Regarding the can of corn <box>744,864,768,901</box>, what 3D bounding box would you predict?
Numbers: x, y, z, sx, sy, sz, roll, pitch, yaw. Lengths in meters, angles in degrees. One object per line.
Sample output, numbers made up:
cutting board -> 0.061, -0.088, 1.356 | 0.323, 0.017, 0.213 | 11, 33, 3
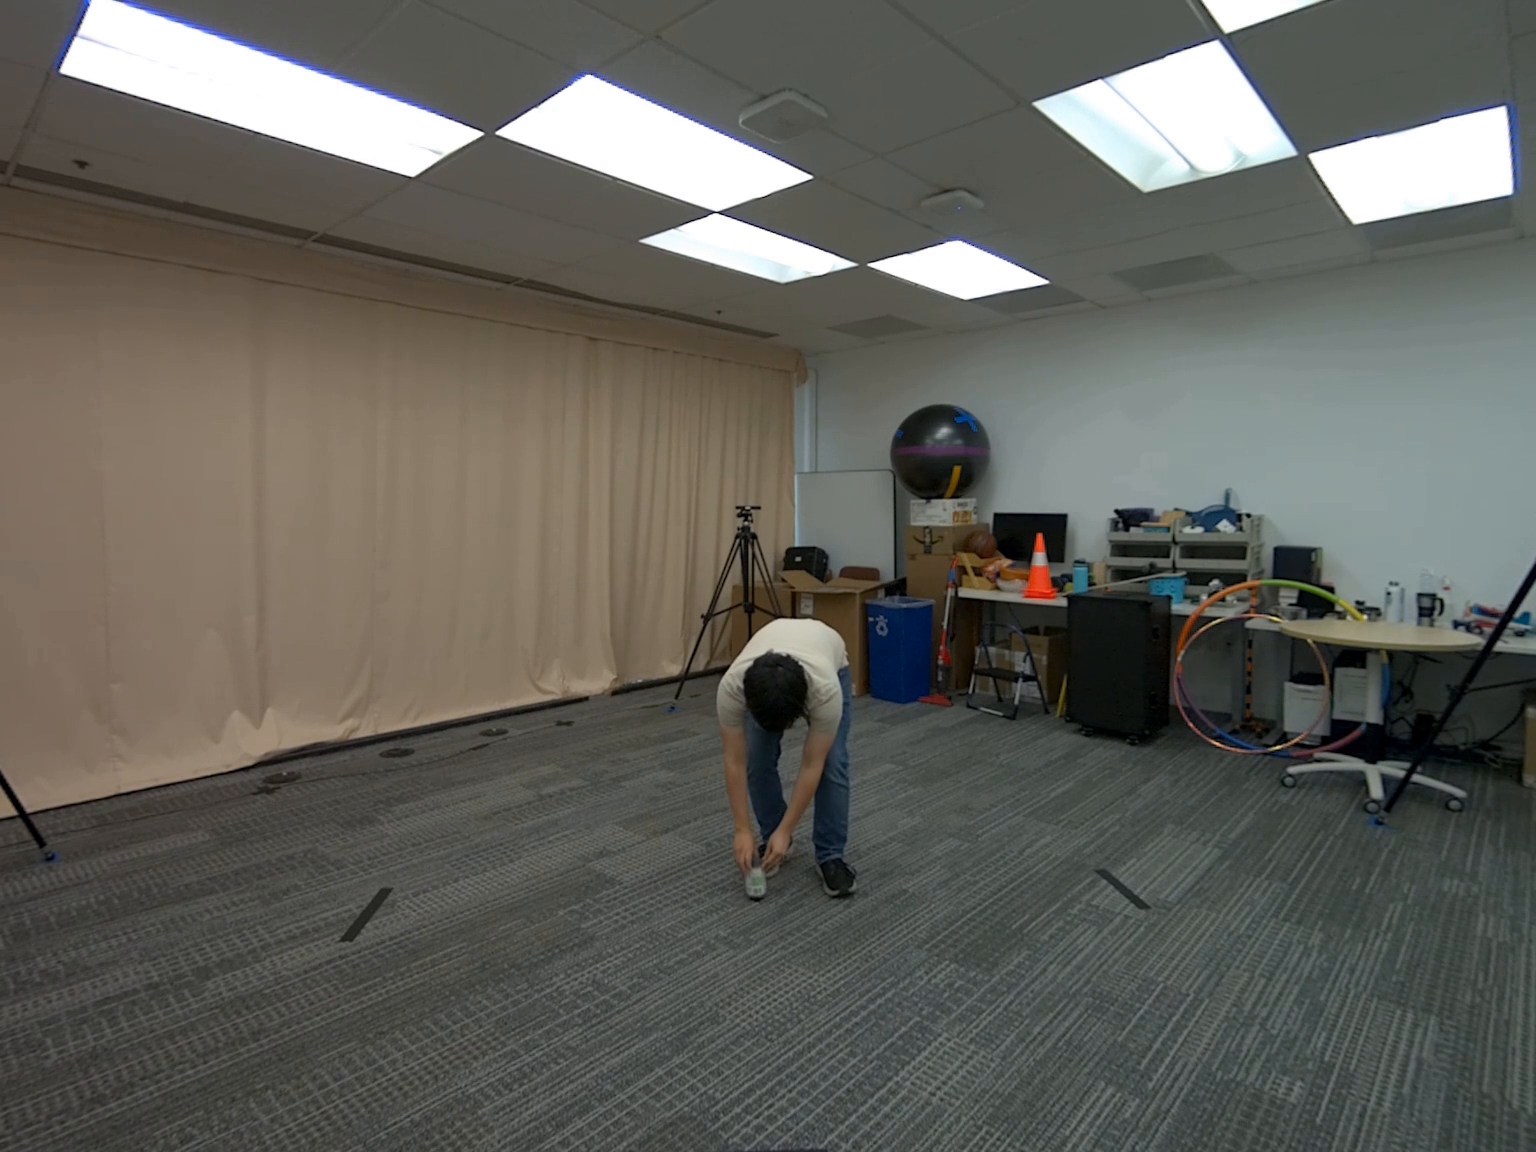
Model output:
can of corn -> -0.046, 1.062, 2.979 | 0.074, 0.111, 0.074 | 1, 1, -2
